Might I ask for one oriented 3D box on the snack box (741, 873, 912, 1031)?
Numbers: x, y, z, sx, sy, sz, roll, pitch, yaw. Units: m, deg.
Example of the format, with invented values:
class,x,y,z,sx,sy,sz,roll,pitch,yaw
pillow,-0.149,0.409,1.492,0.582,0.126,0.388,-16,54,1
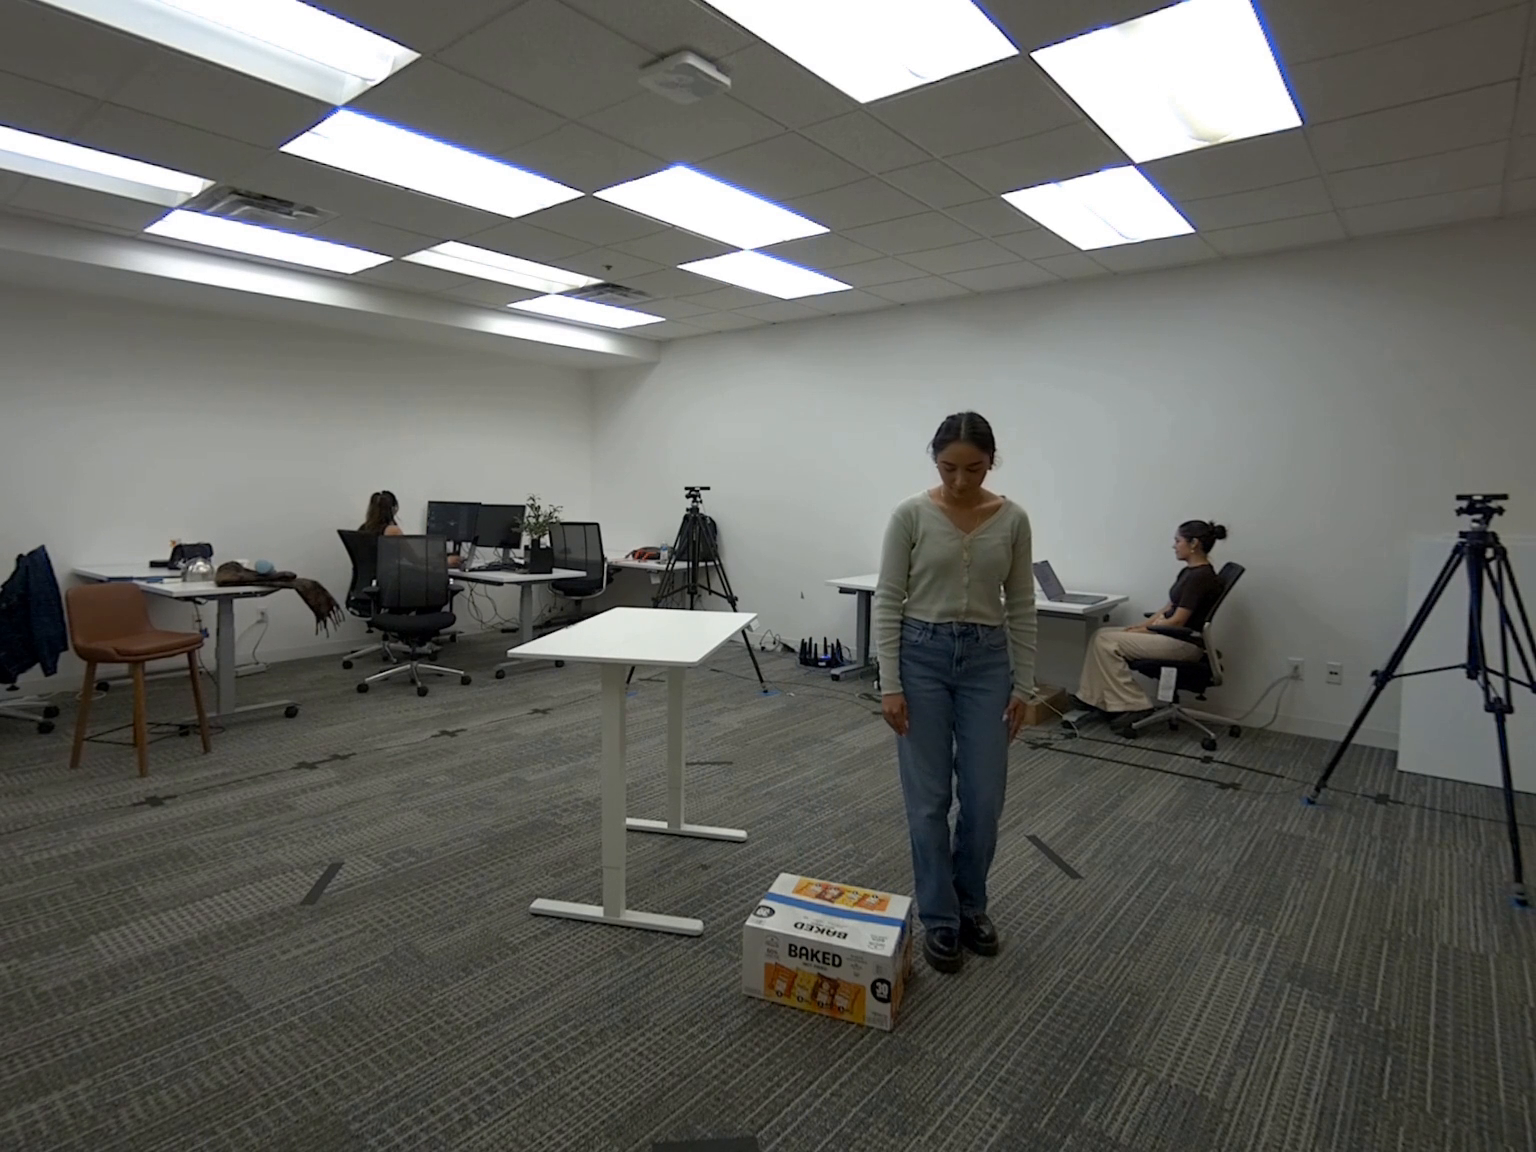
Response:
class,x,y,z,sx,sy,sz,roll,pitch,yaw
snack box,0.171,1.041,2.402,0.414,0.205,0.334,3,5,20
